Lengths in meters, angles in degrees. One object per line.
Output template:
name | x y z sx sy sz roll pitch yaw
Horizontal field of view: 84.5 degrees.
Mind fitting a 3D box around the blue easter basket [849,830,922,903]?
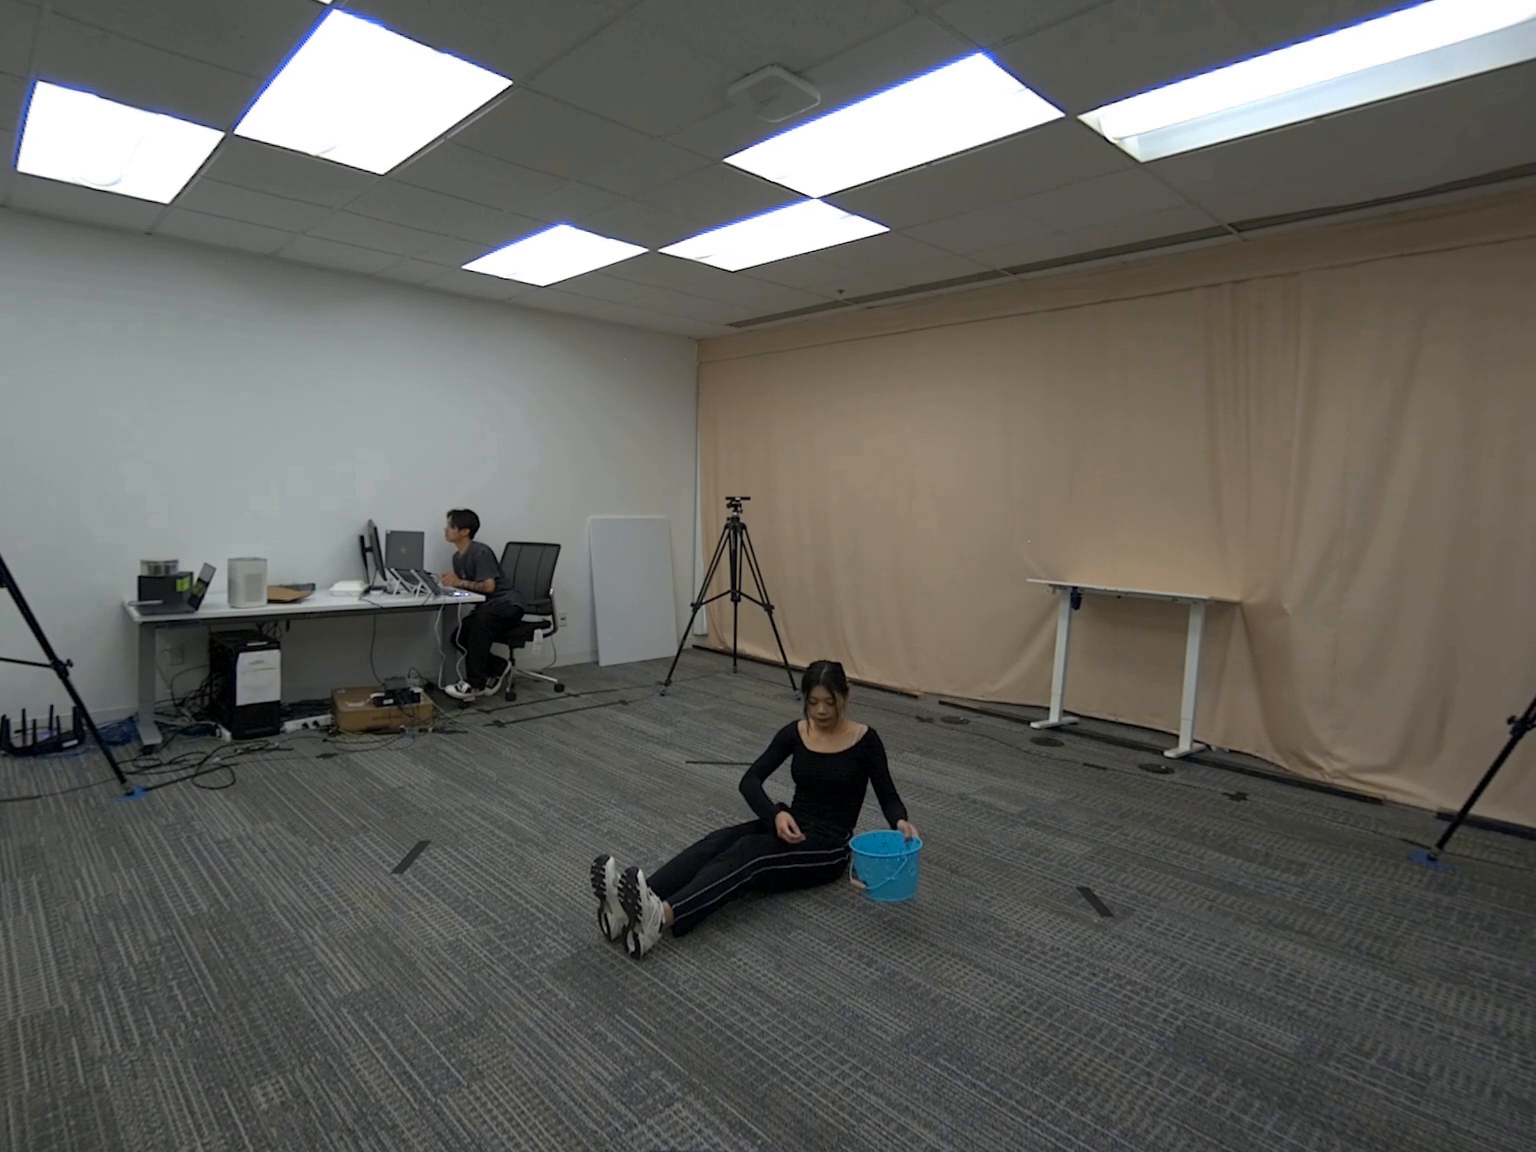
blue easter basket | 0.360 0.946 2.727 0.243 0.156 0.244 -2 1 -1
